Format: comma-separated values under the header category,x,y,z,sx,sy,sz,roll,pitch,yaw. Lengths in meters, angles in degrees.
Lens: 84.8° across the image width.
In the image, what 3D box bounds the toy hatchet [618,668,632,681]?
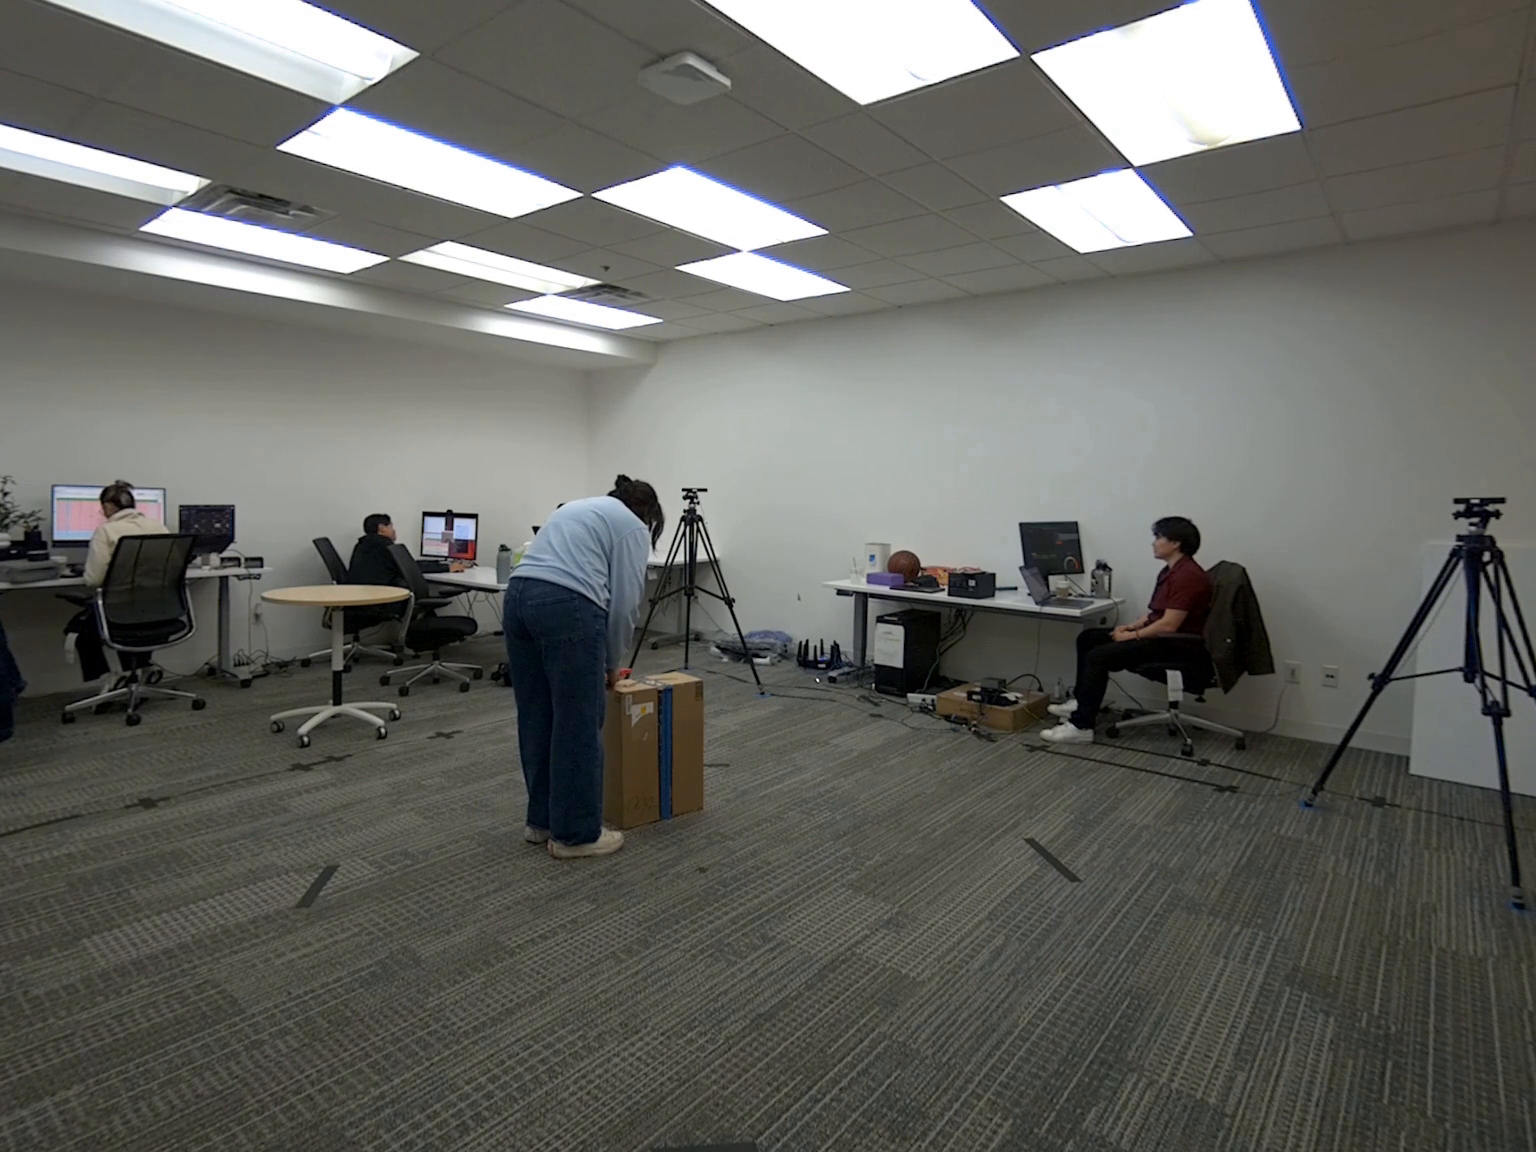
category,x,y,z,sx,sy,sz,roll,pitch,yaw
toy hatchet,-0.695,0.435,3.487,0.134,0.029,0.265,-10,6,29
